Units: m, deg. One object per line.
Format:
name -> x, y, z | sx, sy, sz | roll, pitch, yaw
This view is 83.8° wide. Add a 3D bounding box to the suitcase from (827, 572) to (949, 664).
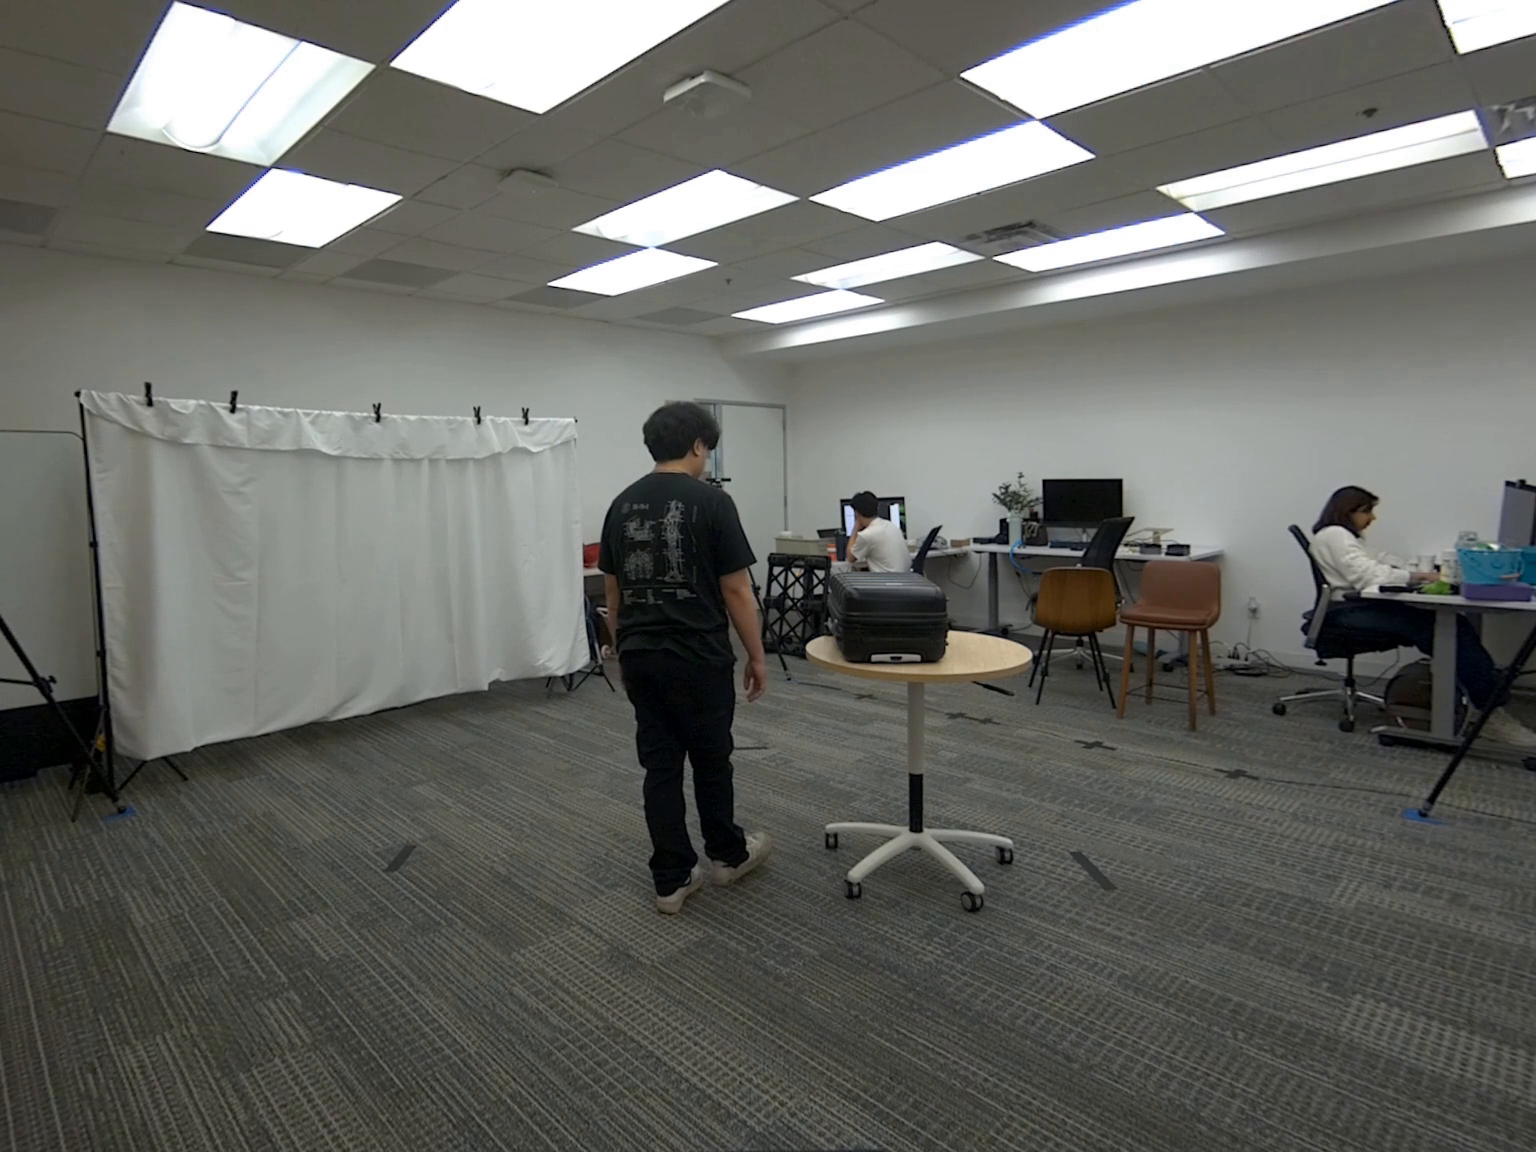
suitcase -> 0.412, 0.135, 2.979 | 0.376, 0.247, 0.551 | 1, 7, 1
